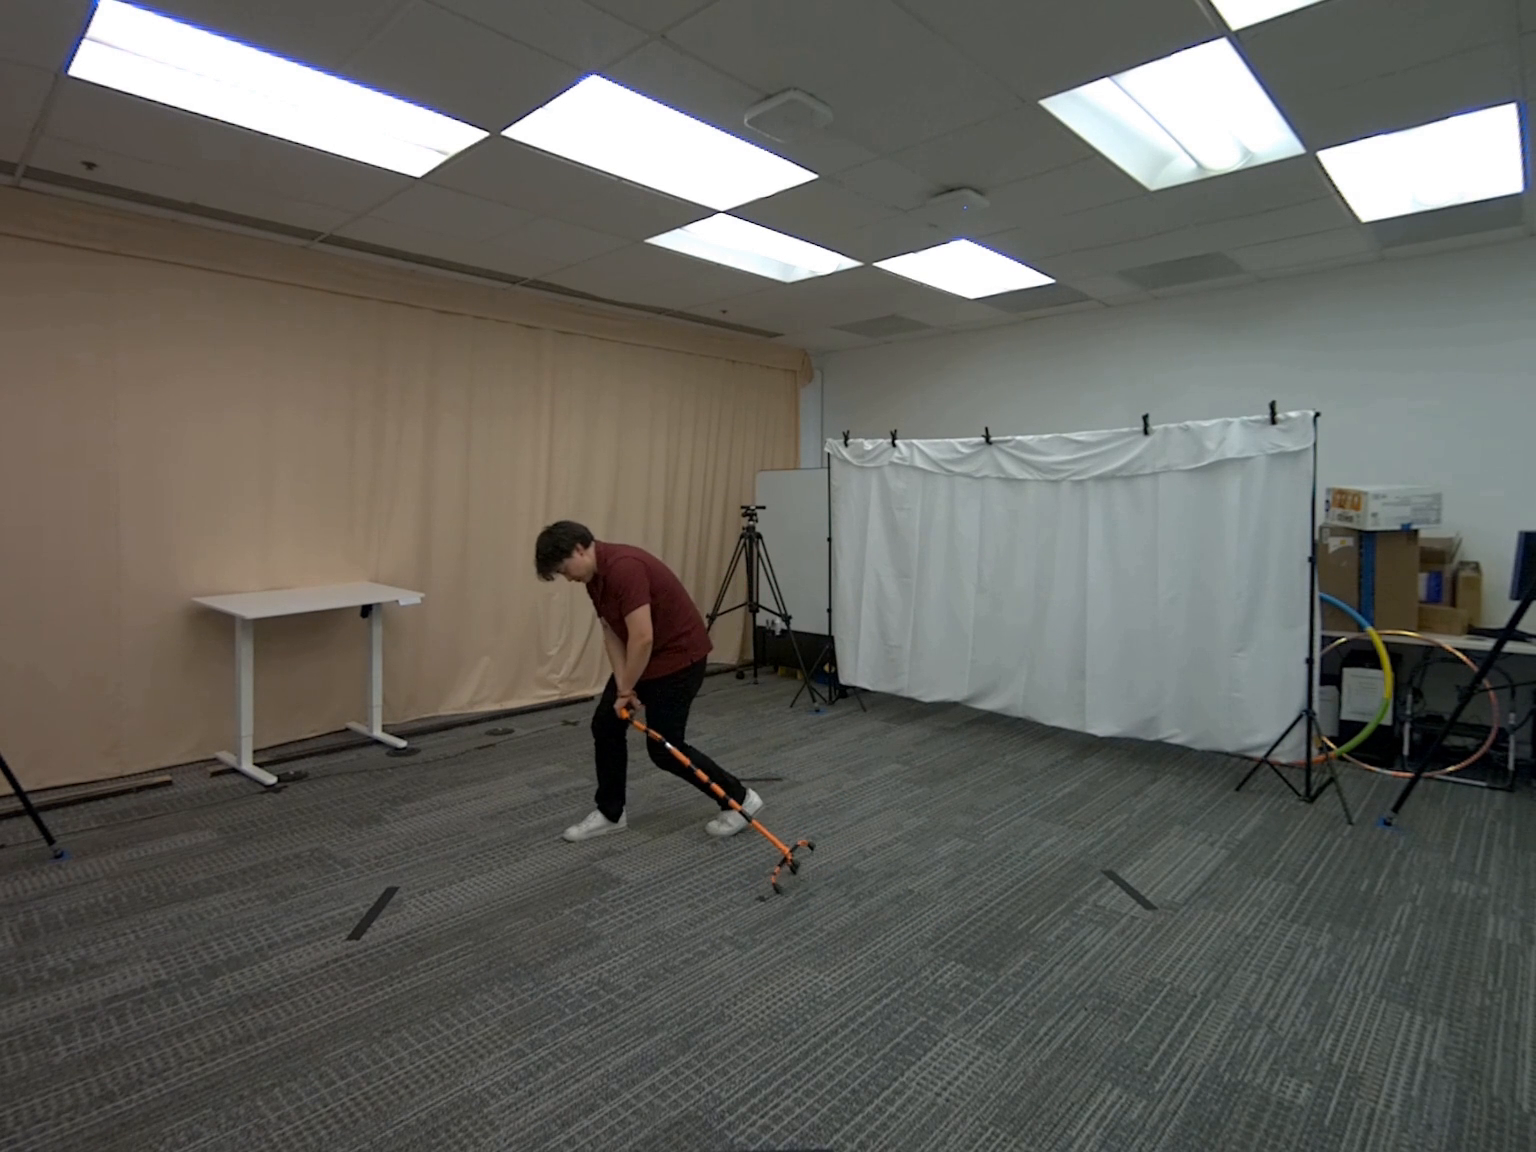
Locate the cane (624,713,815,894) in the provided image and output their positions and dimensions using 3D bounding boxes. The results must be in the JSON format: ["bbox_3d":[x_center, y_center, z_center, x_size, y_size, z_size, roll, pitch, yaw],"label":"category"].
[{"bbox_3d":[-0.227,0.798,3.213,0.927,0.152,0.202,38,16,17],"label":"cane"}]
